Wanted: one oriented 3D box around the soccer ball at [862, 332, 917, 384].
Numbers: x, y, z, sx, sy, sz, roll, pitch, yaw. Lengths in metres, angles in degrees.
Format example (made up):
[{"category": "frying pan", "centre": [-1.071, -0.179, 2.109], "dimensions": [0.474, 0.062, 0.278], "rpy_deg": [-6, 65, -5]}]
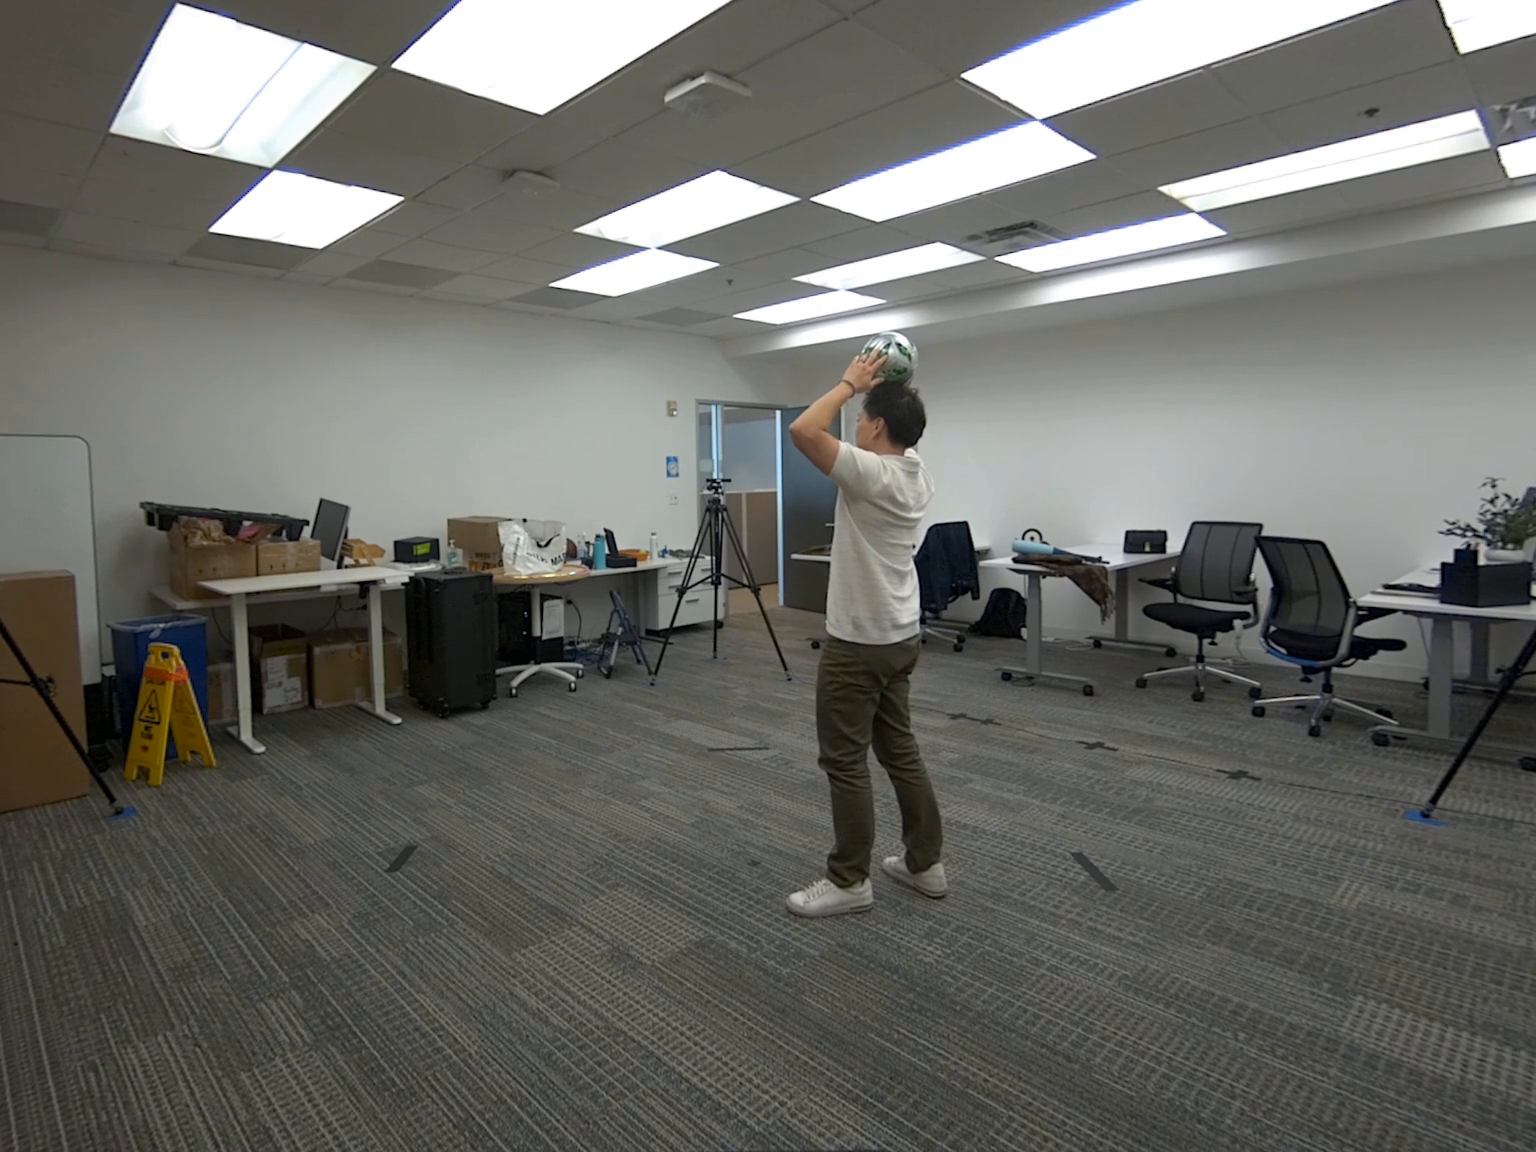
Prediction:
[{"category": "soccer ball", "centre": [0.402, -0.705, 2.807], "dimensions": [0.187, 0.187, 0.188], "rpy_deg": [-1, 5, -2]}]
